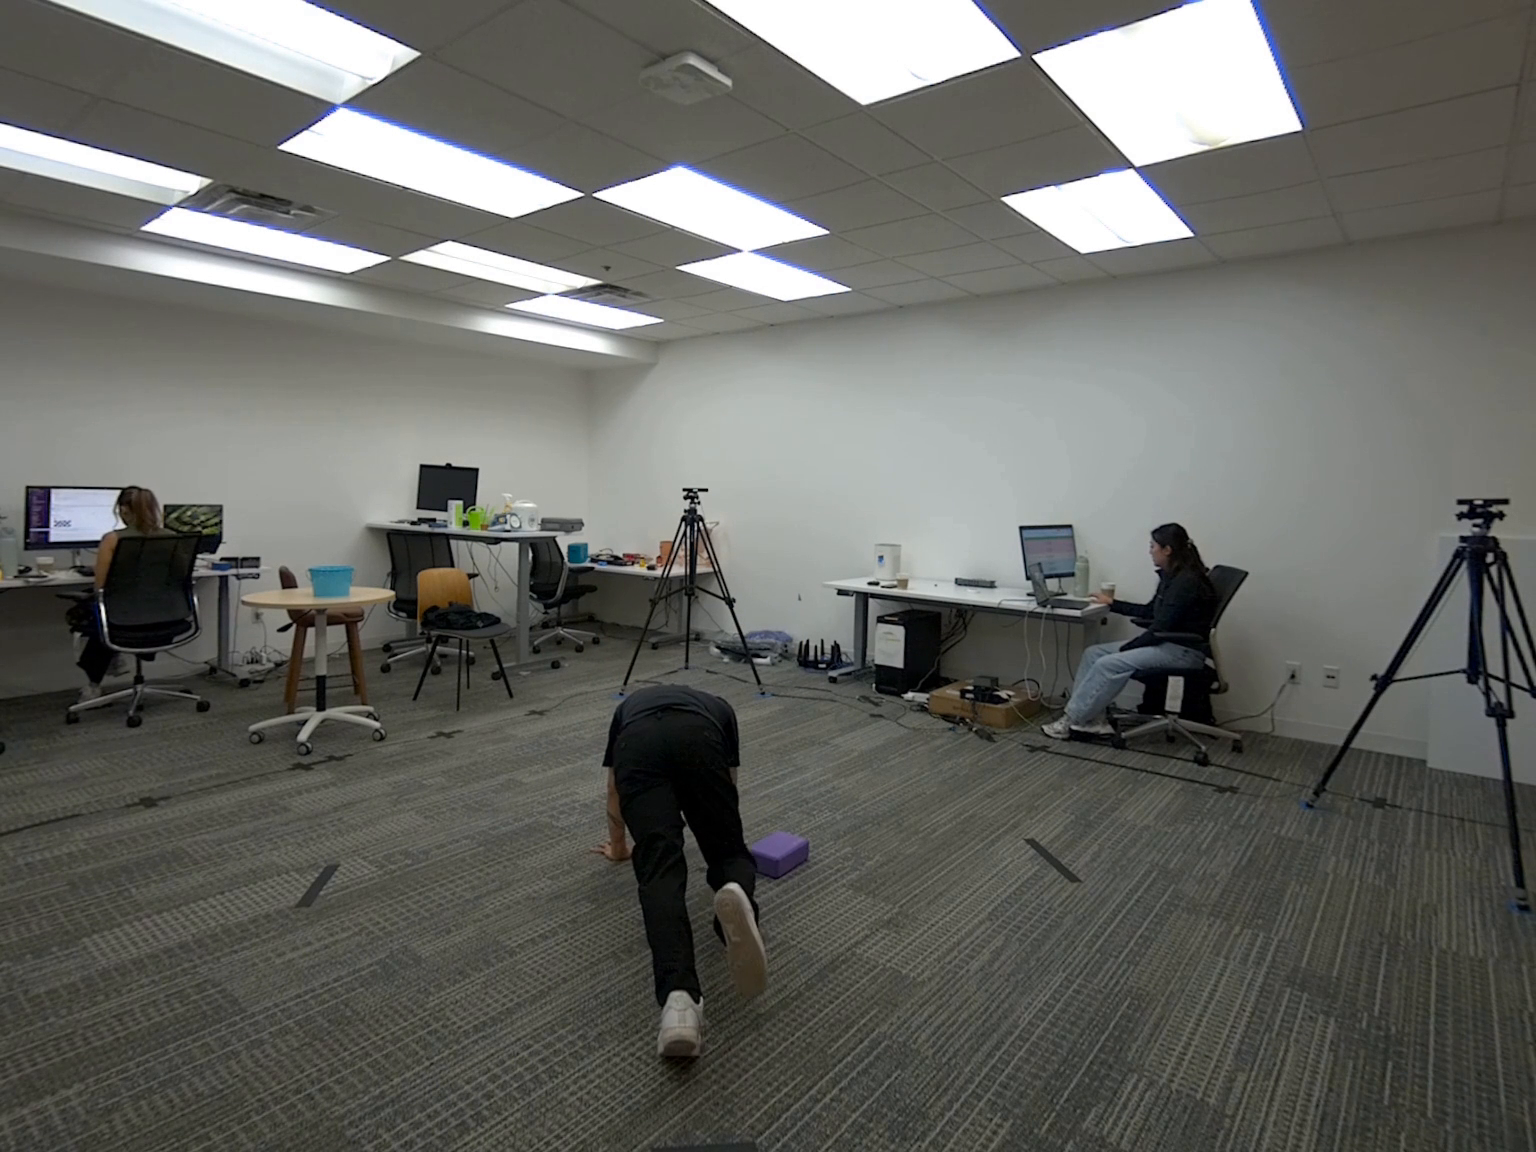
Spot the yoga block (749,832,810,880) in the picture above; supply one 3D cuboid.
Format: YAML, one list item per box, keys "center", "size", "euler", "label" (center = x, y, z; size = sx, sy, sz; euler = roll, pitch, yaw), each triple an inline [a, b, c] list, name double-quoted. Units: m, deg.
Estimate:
- center: [0.025, 1.028, 3.167]
  size: [0.154, 0.076, 0.223]
  euler: [4, 6, 33]
  label: "yoga block"
